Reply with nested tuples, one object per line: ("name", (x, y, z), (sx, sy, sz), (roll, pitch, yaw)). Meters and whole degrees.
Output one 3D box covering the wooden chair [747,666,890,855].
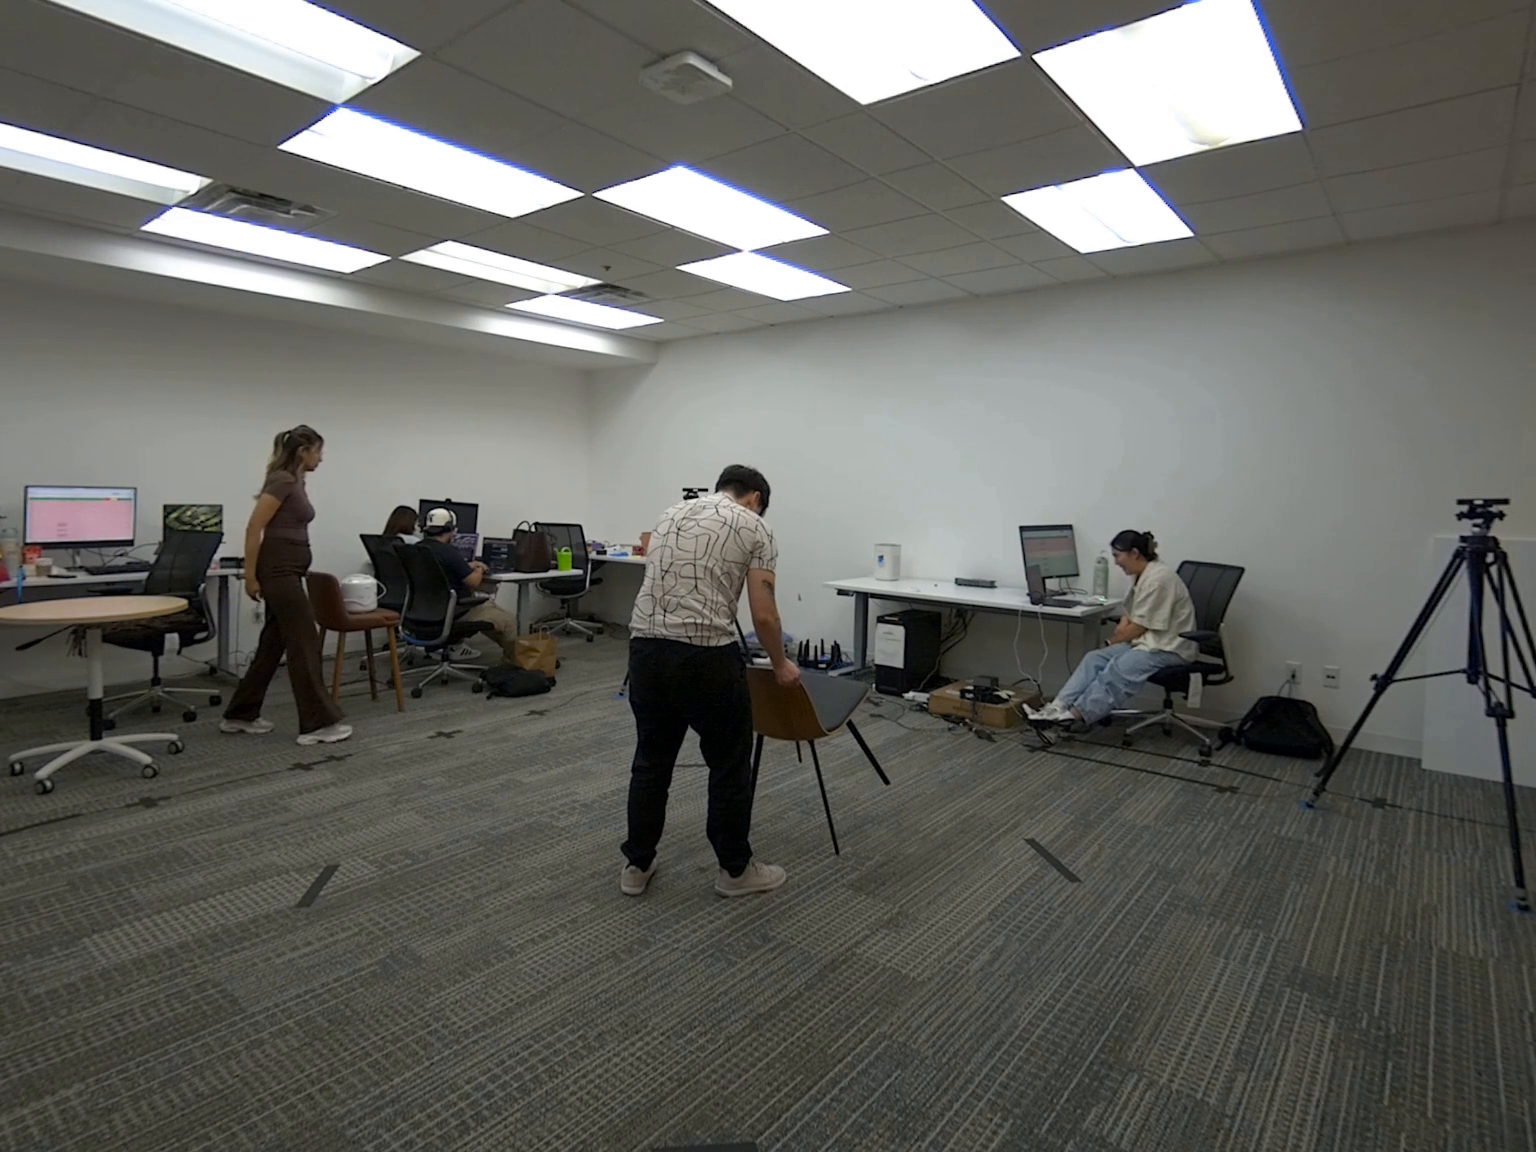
("wooden chair", (0.119, 0.562, 3.411), (0.494, 0.854, 0.520), (4, 30, 37))
